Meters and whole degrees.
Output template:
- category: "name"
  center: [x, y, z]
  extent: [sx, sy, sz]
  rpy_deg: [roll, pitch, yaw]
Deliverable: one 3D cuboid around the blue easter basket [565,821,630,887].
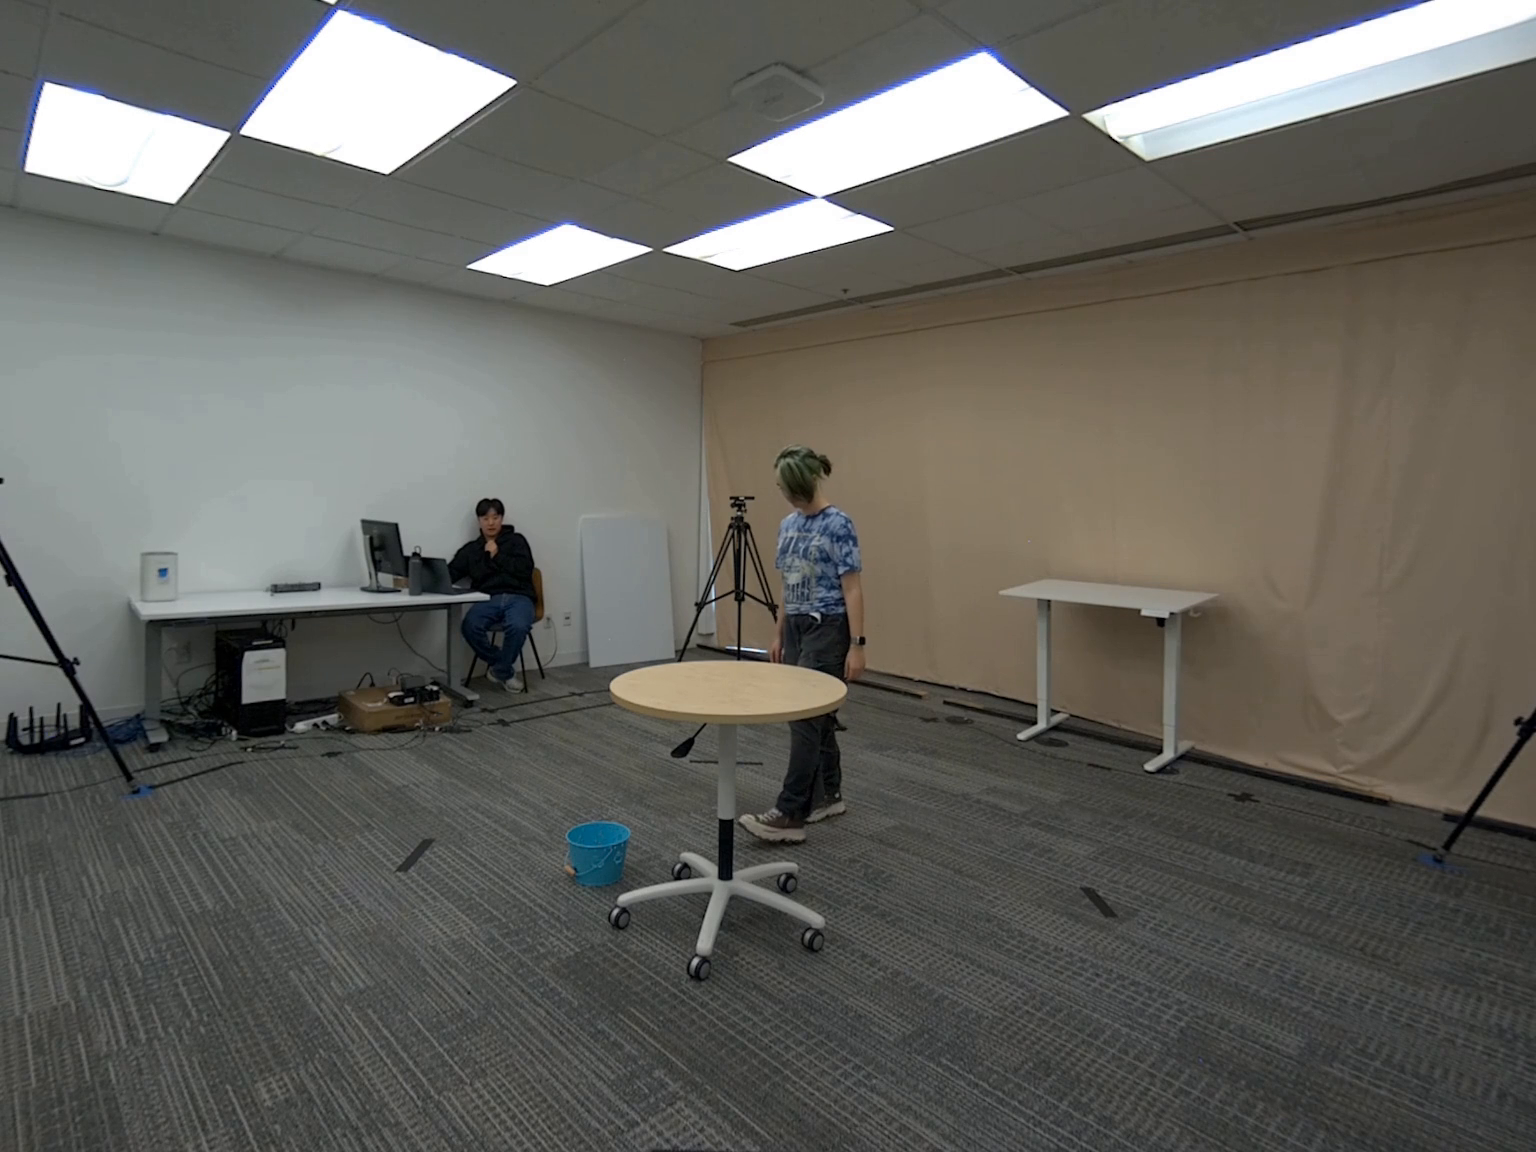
- category: "blue easter basket"
  center: [-0.637, 1.017, 3.081]
  extent: [0.243, 0.155, 0.244]
  rpy_deg: [2, 5, -2]
